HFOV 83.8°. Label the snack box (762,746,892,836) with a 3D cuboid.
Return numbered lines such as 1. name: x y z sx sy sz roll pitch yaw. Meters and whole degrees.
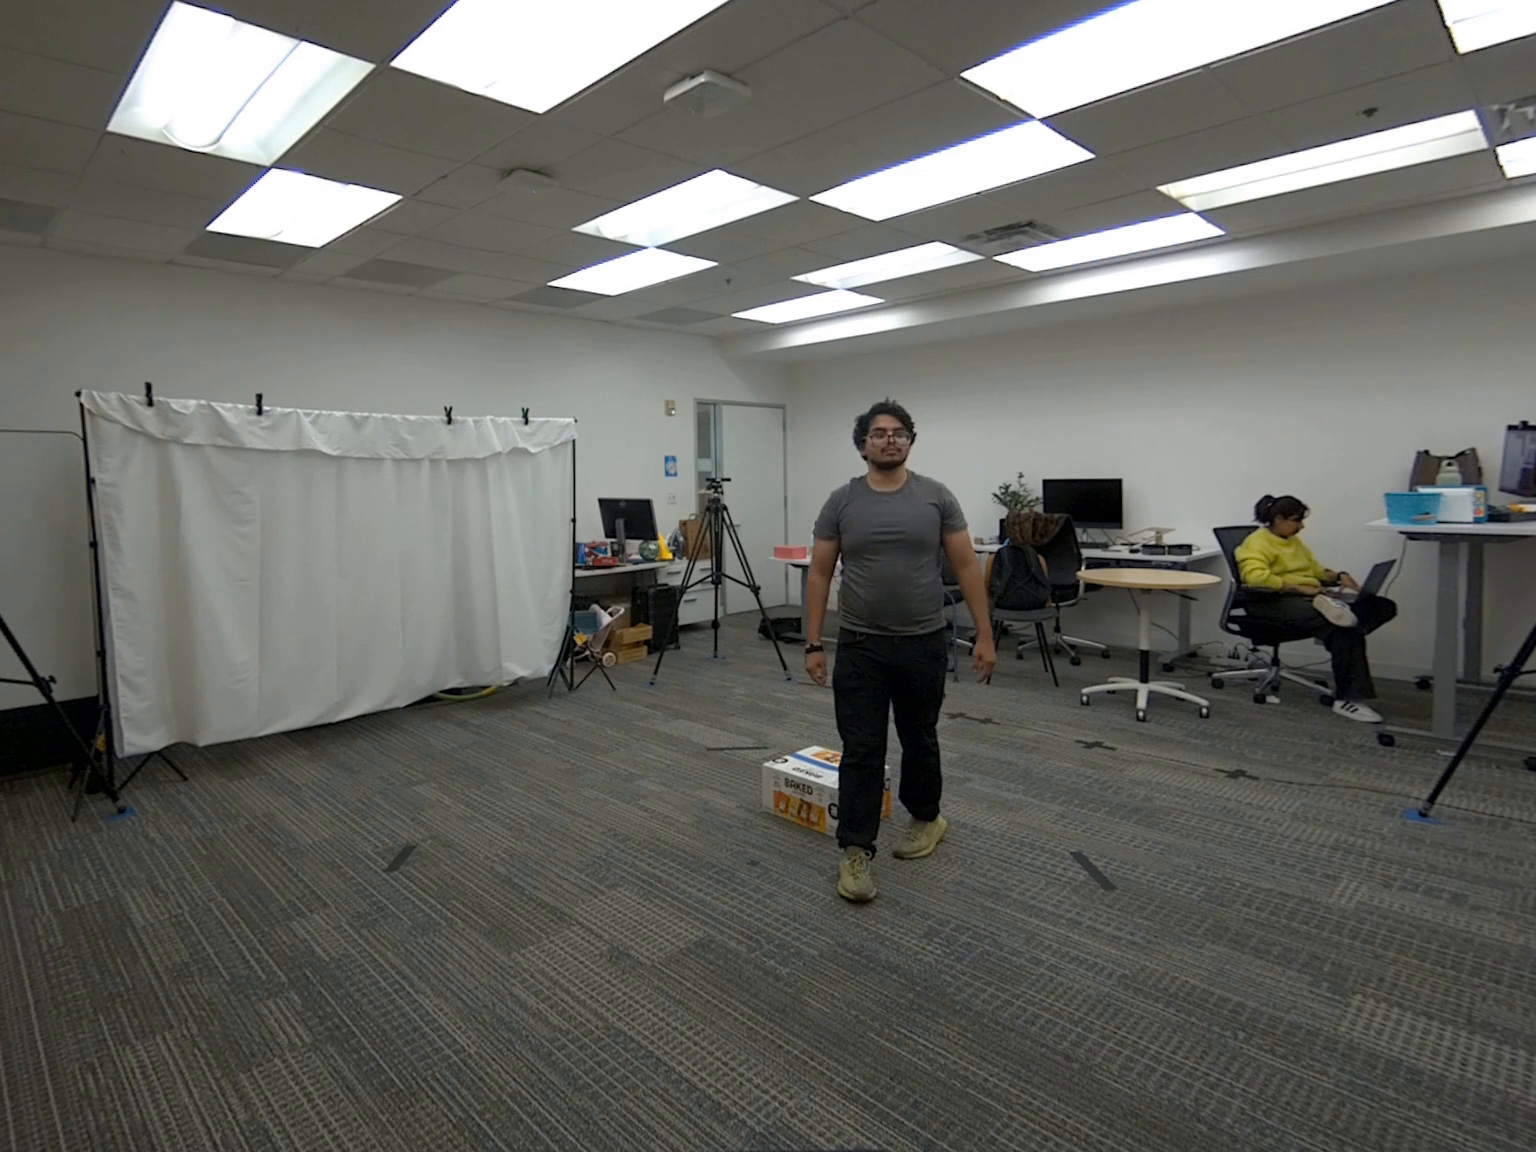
1. snack box: 0.240 0.888 3.546 0.418 0.205 0.331 5 8 44
